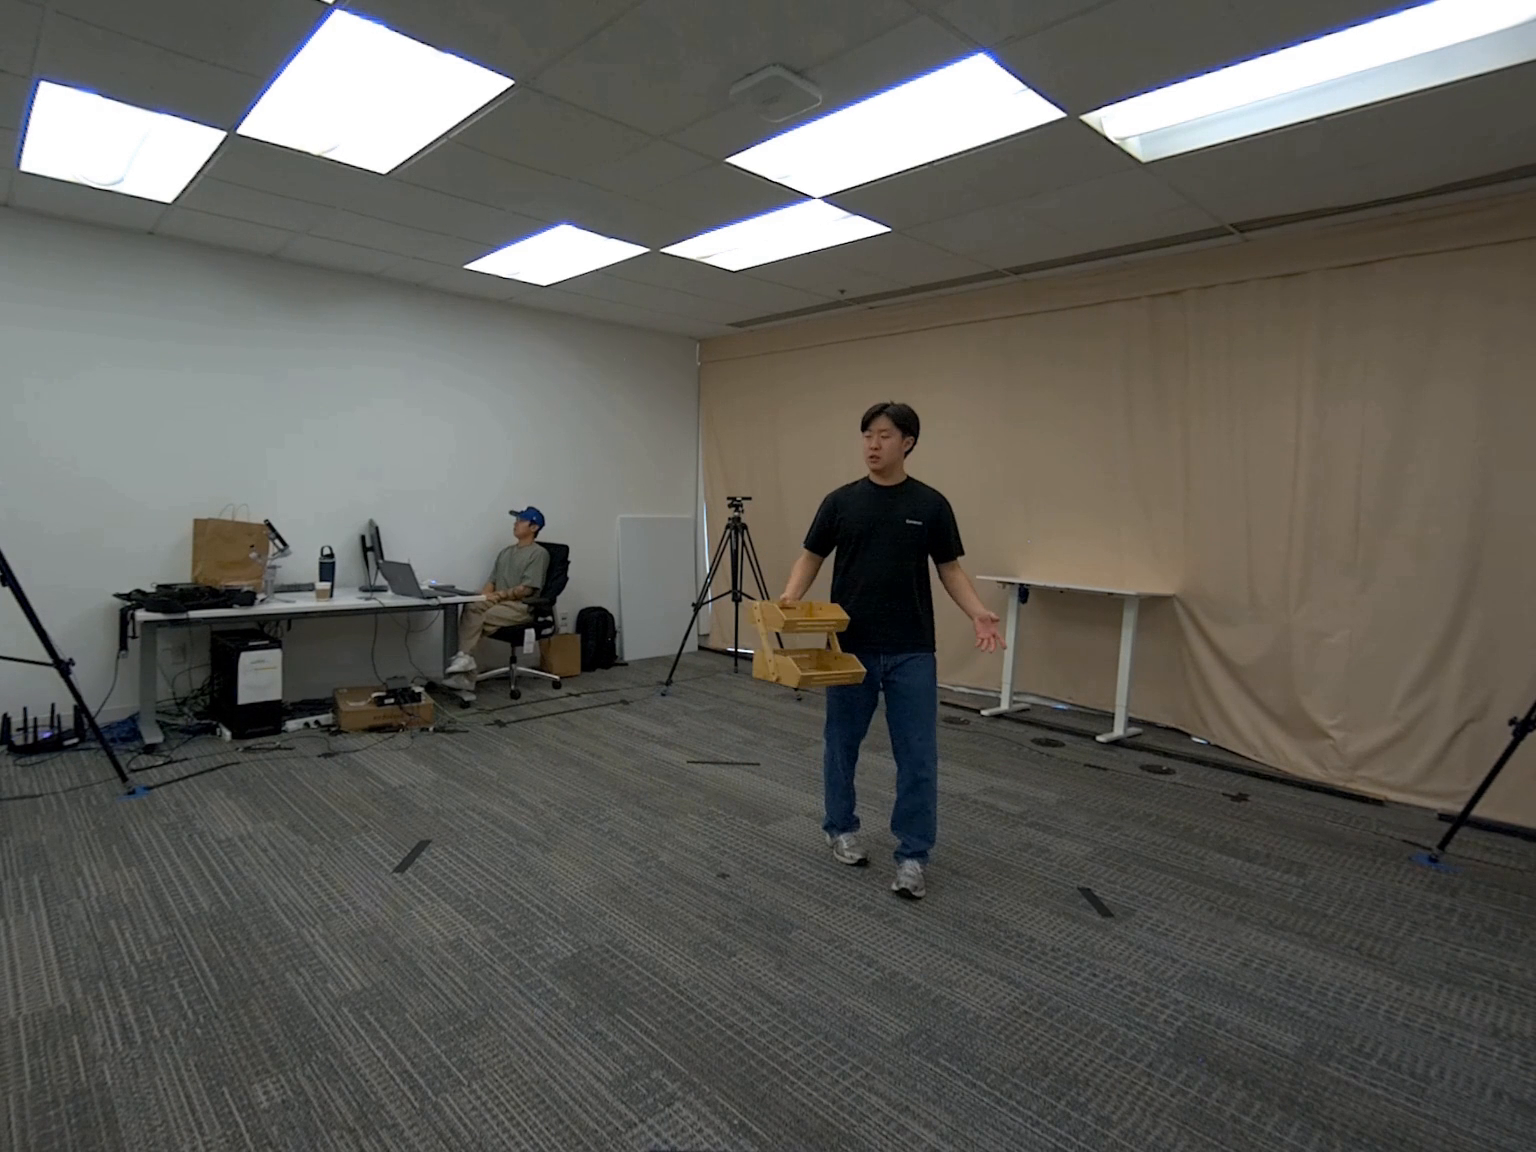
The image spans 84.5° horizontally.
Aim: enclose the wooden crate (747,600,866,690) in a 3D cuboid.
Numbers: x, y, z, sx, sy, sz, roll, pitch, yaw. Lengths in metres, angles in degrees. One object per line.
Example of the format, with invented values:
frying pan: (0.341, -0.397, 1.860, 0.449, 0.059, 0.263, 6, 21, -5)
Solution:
wooden crate: (0.140, 0.226, 2.915, 0.317, 0.273, 0.309, 2, 0, -38)
